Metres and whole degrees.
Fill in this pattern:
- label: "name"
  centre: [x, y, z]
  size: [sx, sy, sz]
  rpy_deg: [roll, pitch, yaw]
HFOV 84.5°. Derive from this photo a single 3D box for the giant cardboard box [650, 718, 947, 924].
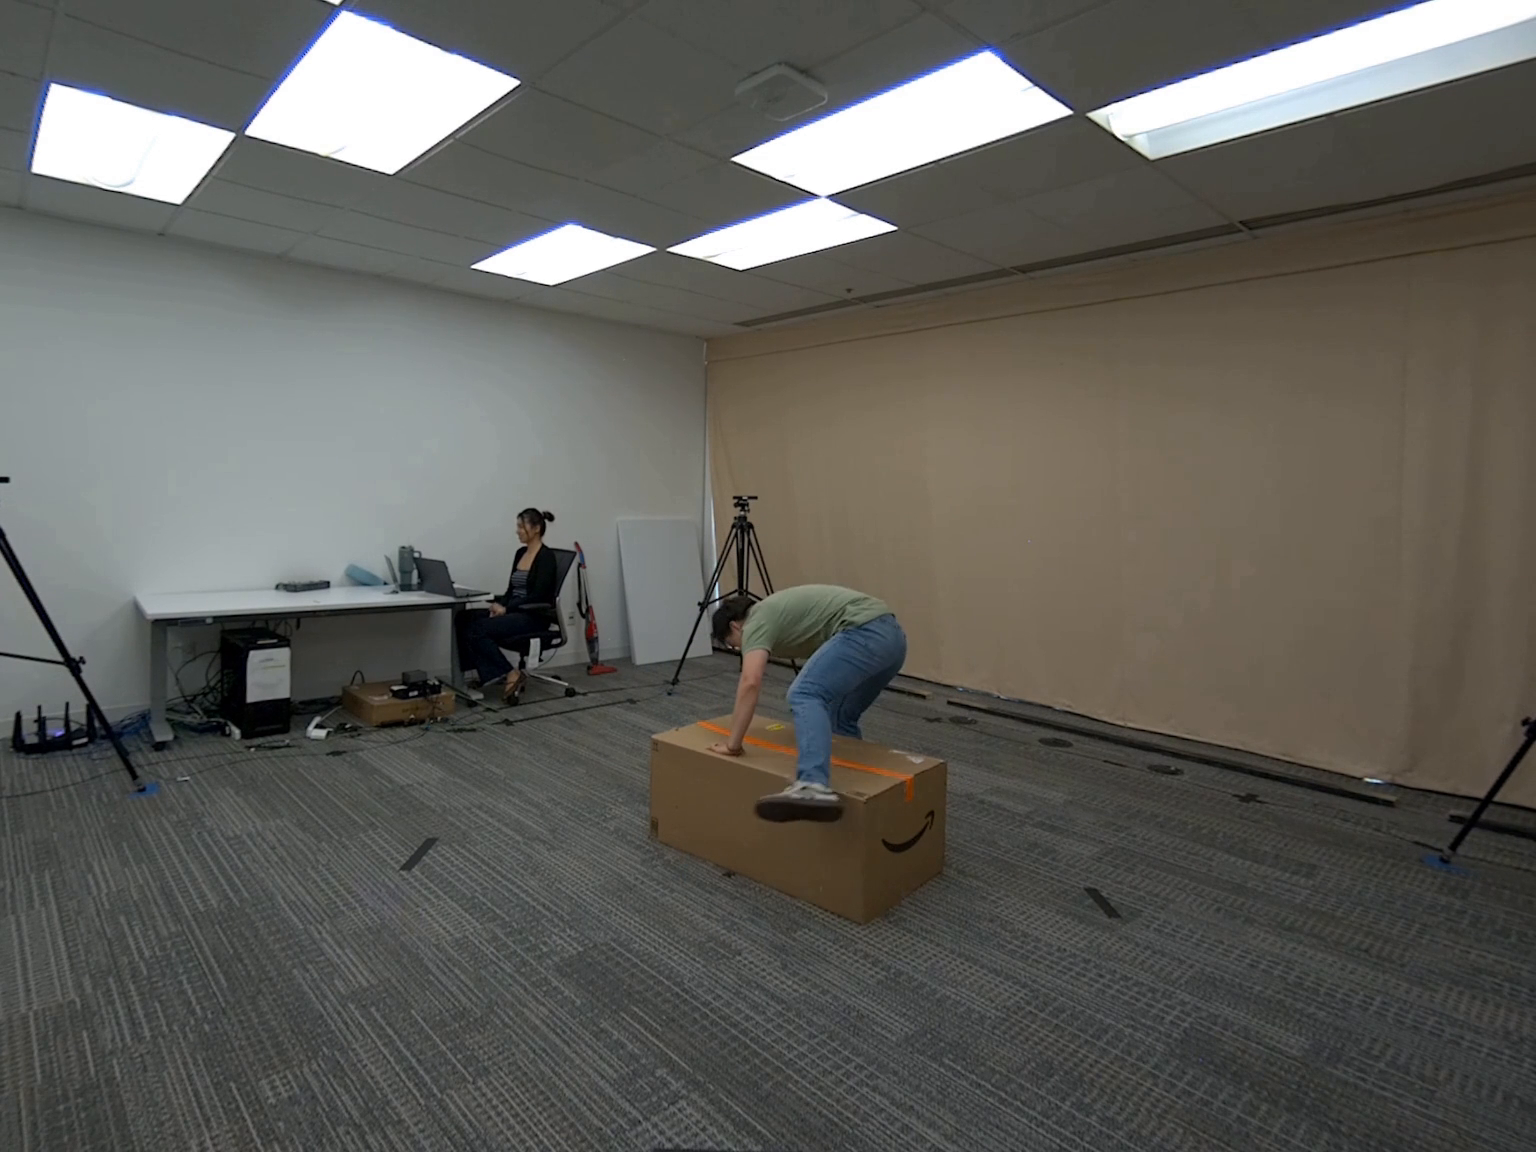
- label: "giant cardboard box"
  centre: [0.088, 0.882, 3.285]
  size: [1.052, 0.425, 0.564]
  rpy_deg: [5, 5, 40]
